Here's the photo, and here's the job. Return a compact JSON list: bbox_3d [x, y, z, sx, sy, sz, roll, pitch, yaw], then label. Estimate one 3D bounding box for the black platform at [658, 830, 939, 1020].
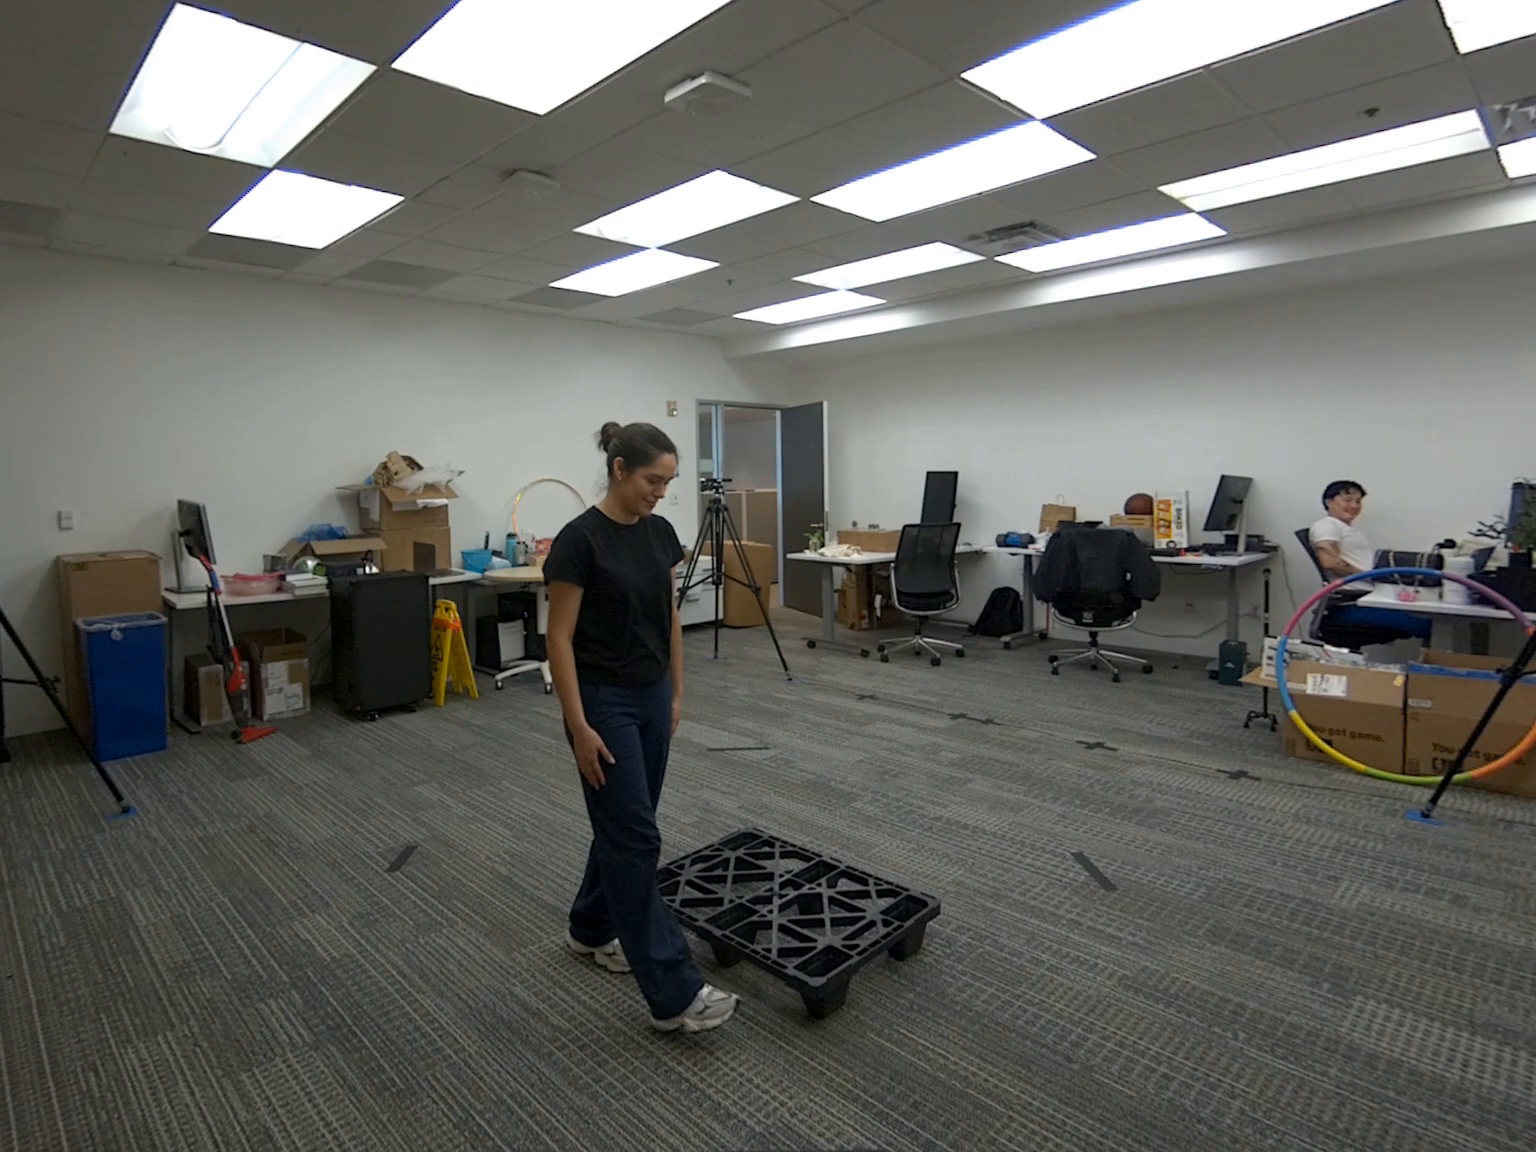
[{"bbox_3d":[0.030,1.031,2.642,0.831,0.143,0.589,6,9,43],"label":"black platform"}]
